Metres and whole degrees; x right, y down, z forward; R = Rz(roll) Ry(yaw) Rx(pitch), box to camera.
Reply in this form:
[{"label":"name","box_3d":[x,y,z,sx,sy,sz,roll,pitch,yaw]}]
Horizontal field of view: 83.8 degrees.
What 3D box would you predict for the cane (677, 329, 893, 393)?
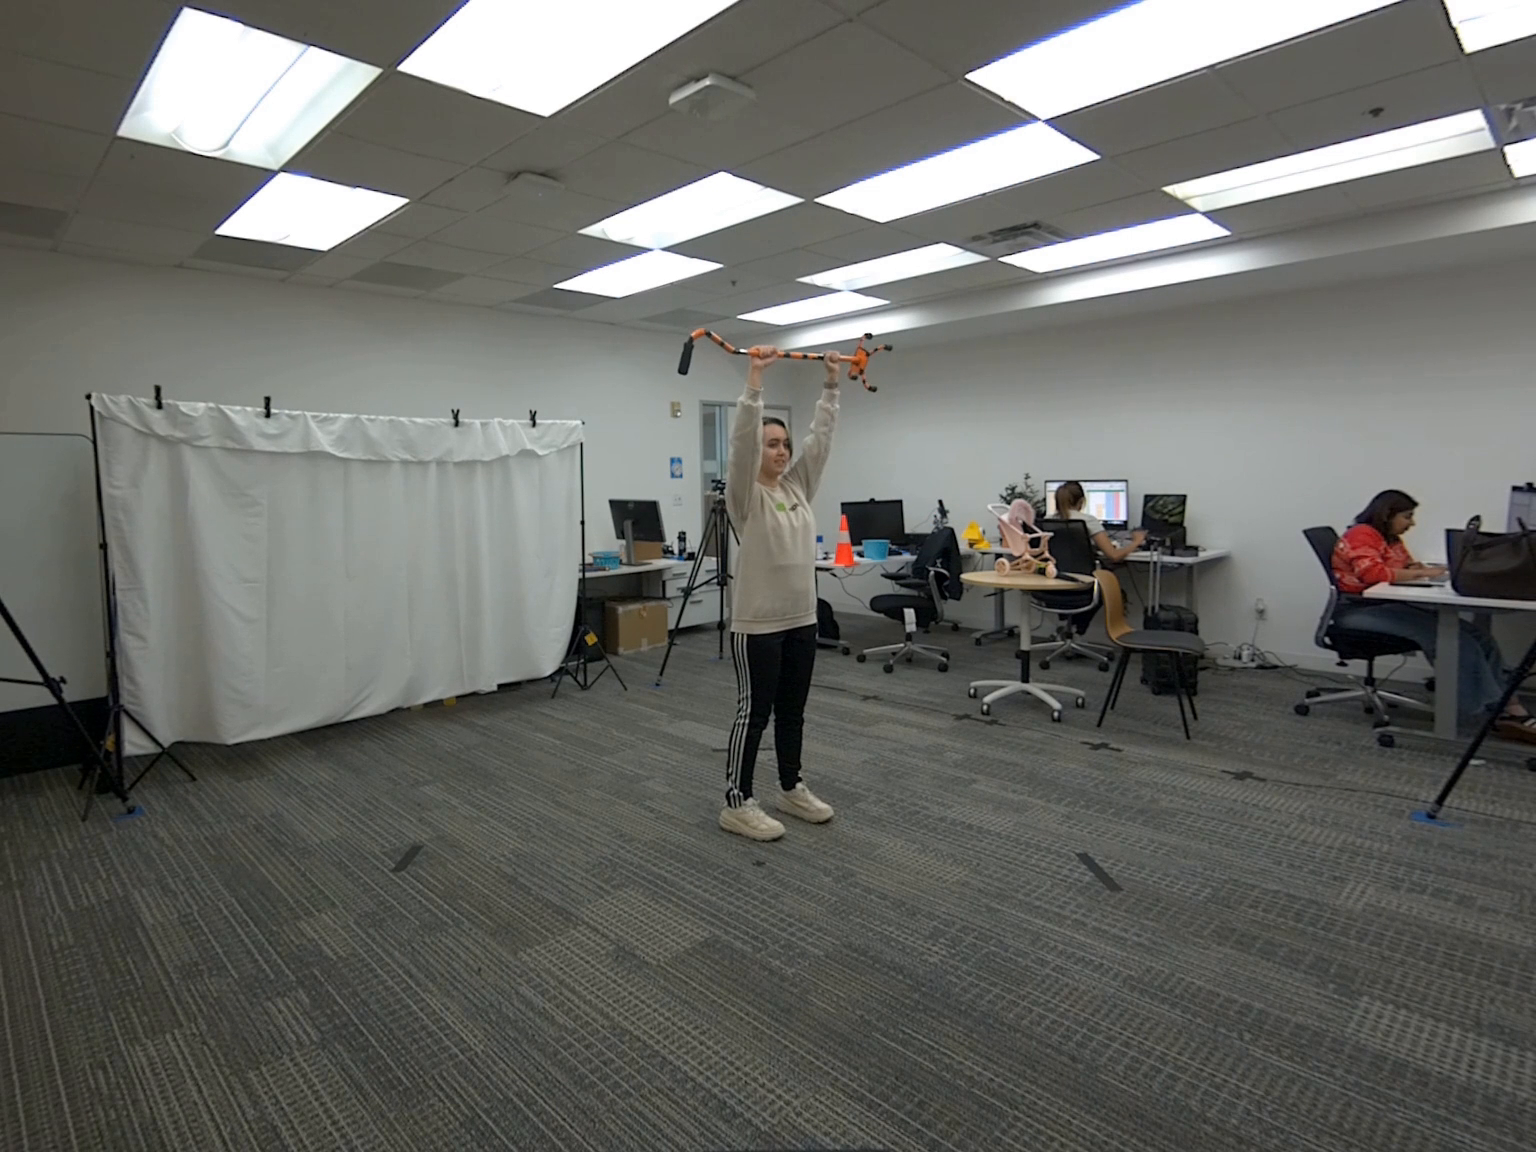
[{"label":"cane","box_3d":[0.069,-0.819,3.187,0.885,0.203,0.158,-7,36,-37]}]
